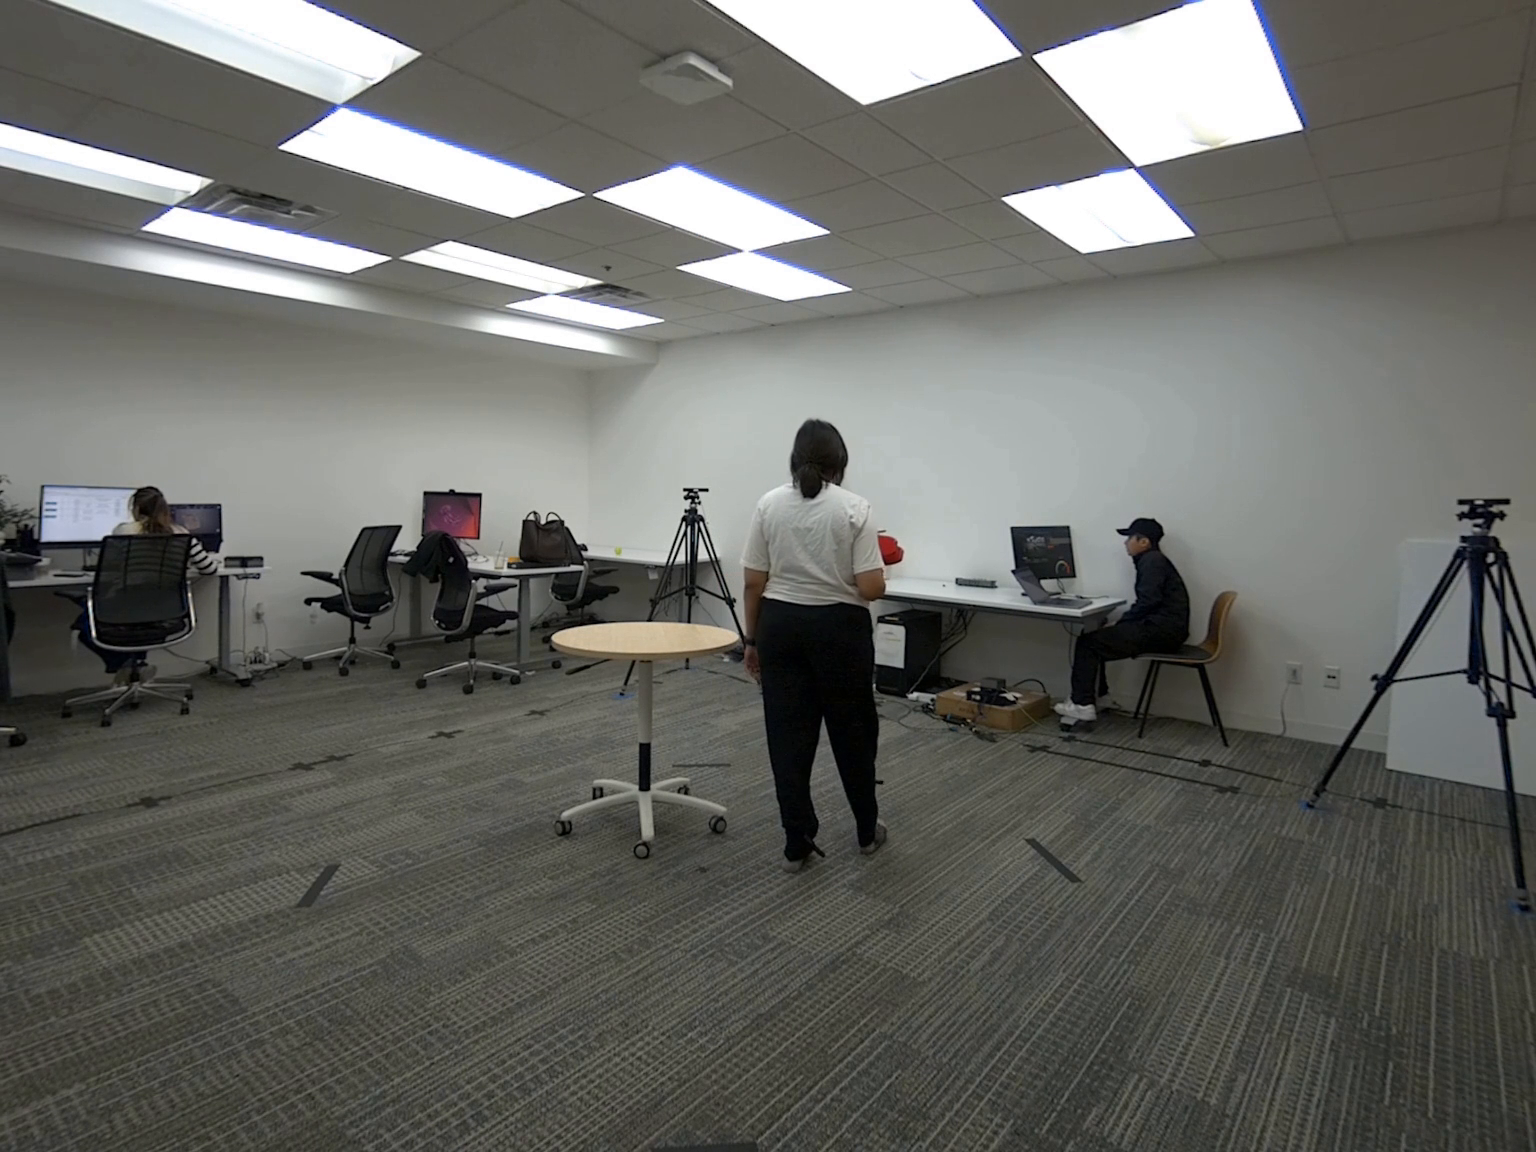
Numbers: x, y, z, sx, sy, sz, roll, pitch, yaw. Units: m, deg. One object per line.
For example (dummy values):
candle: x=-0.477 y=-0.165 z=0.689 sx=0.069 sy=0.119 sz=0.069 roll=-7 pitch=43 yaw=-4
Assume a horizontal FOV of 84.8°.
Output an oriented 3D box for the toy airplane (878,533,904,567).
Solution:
toy airplane: x=0.410 y=-0.062 z=3.357 sx=0.252 sy=0.150 sz=0.268 roll=-22 pitch=43 yaw=9
